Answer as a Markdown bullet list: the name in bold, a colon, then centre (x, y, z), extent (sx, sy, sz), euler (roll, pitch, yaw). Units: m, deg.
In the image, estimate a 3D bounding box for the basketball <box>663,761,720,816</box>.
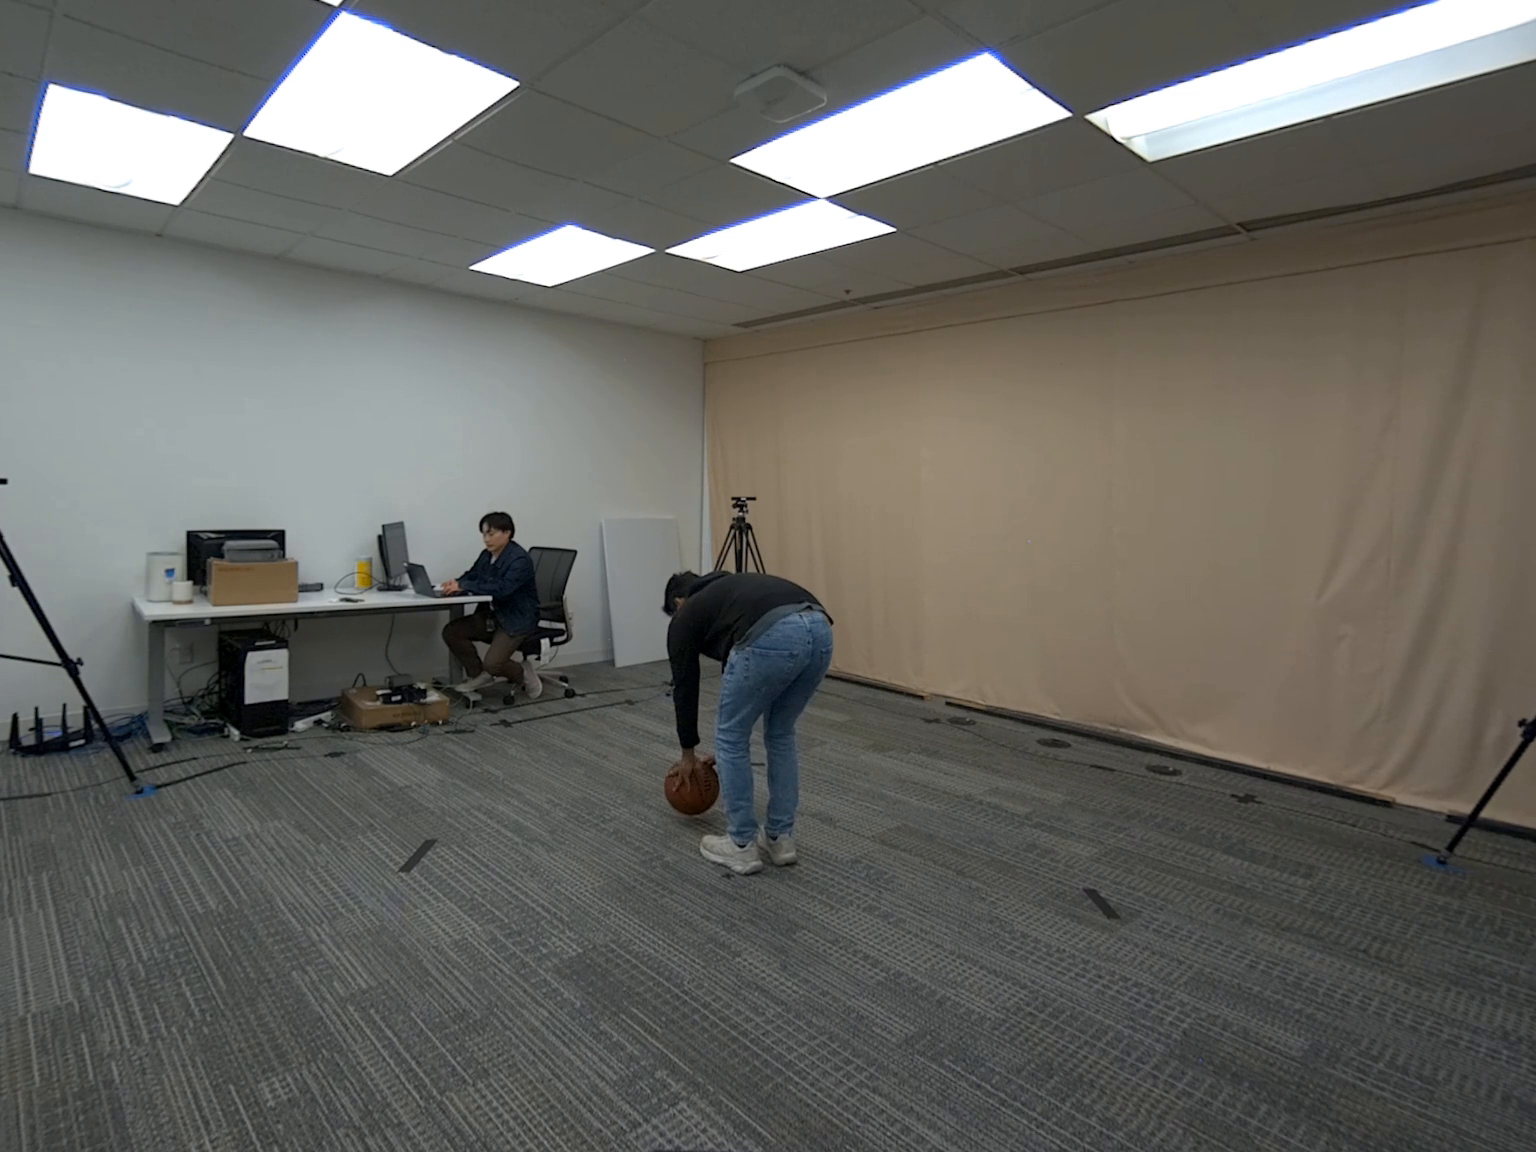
- **basketball**: centre (-0.329, 0.883, 3.602), extent (0.236, 0.235, 0.237), euler (1, 4, -1)
